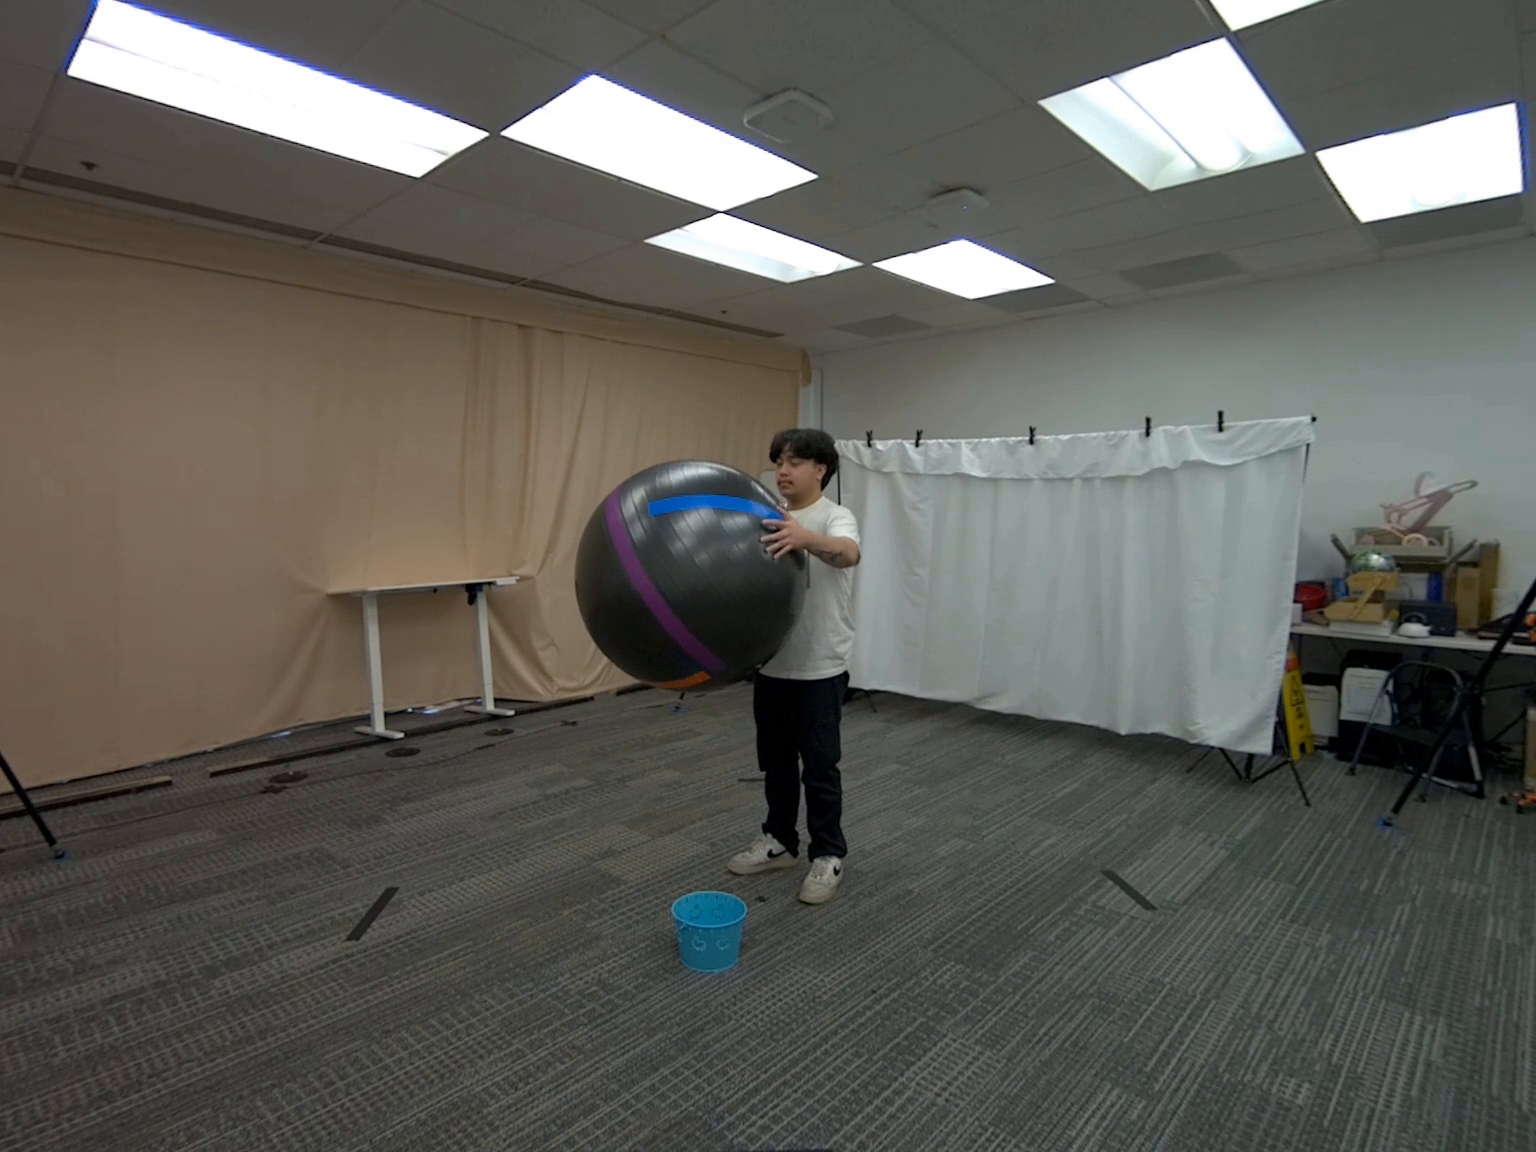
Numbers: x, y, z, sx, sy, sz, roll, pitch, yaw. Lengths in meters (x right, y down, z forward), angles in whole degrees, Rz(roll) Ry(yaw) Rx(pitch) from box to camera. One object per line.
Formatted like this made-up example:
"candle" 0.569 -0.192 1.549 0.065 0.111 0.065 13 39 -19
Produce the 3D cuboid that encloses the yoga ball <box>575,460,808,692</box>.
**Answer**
"yoga ball" -0.255 0.001 2.770 0.757 0.756 0.760 0 4 -2
